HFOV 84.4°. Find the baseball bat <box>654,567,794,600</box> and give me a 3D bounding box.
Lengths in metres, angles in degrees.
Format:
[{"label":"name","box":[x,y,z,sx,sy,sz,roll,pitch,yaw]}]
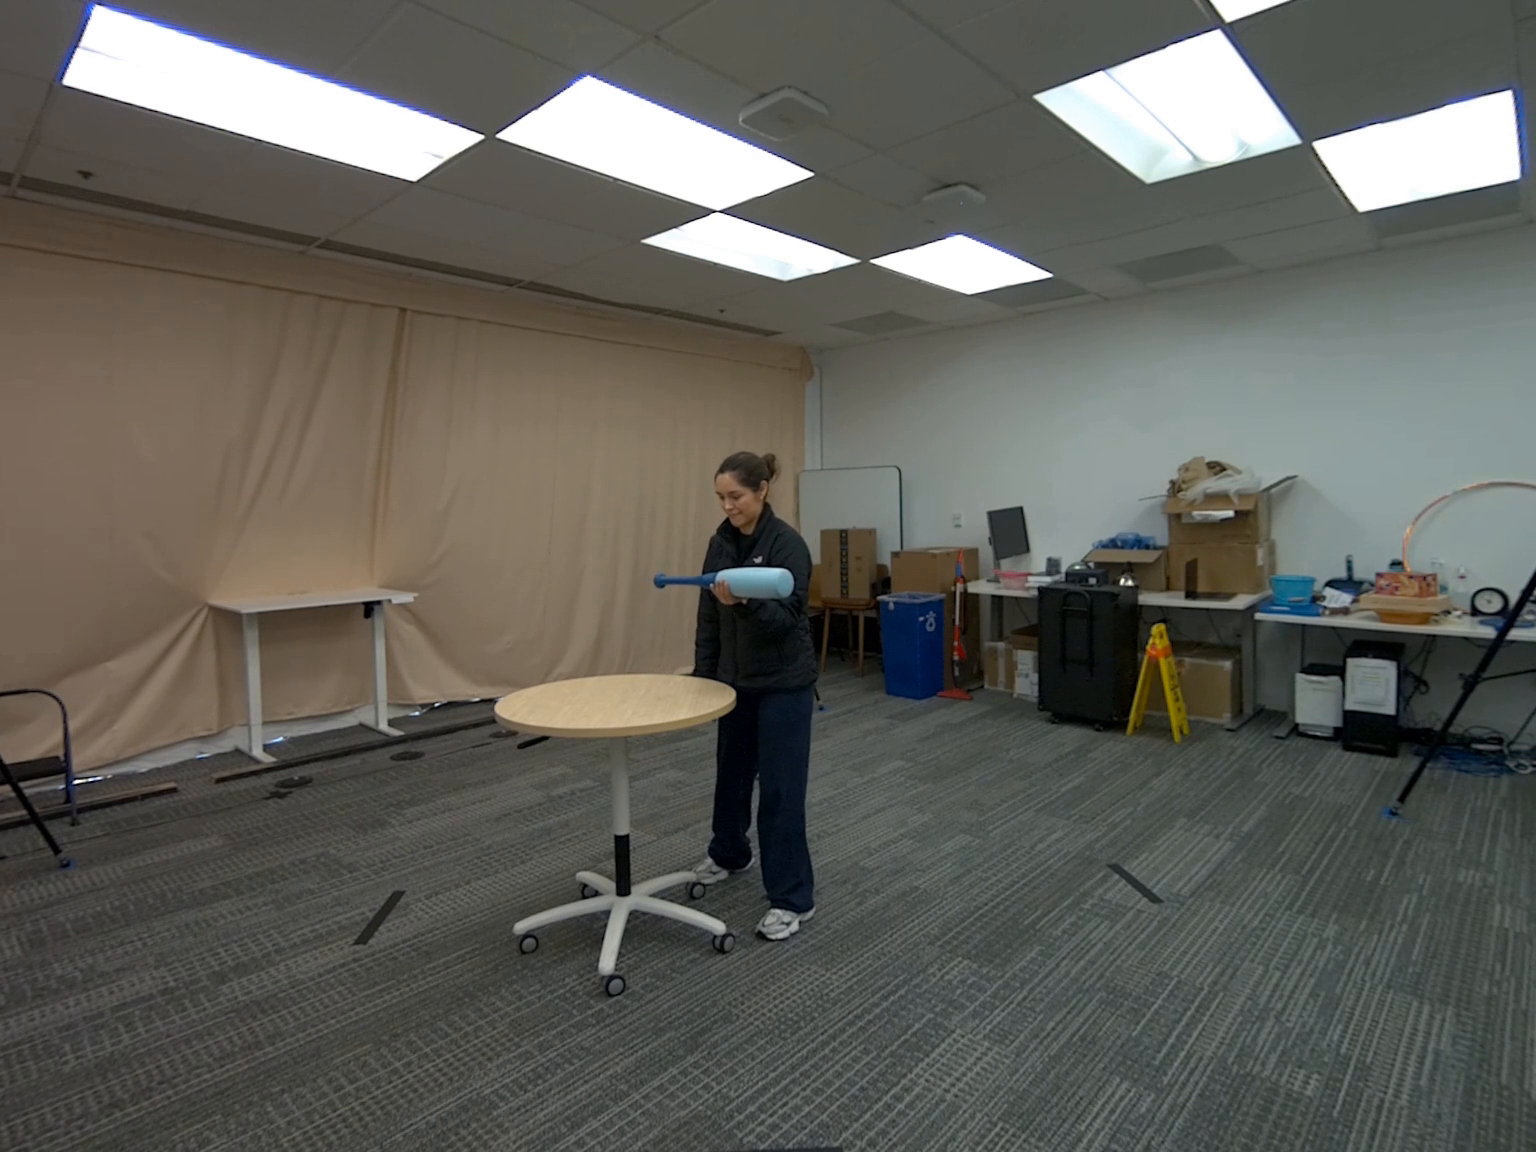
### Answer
[{"label":"baseball bat","box":[-0.145,0.018,2.575,0.086,0.089,0.561,-4,4,-44]}]
